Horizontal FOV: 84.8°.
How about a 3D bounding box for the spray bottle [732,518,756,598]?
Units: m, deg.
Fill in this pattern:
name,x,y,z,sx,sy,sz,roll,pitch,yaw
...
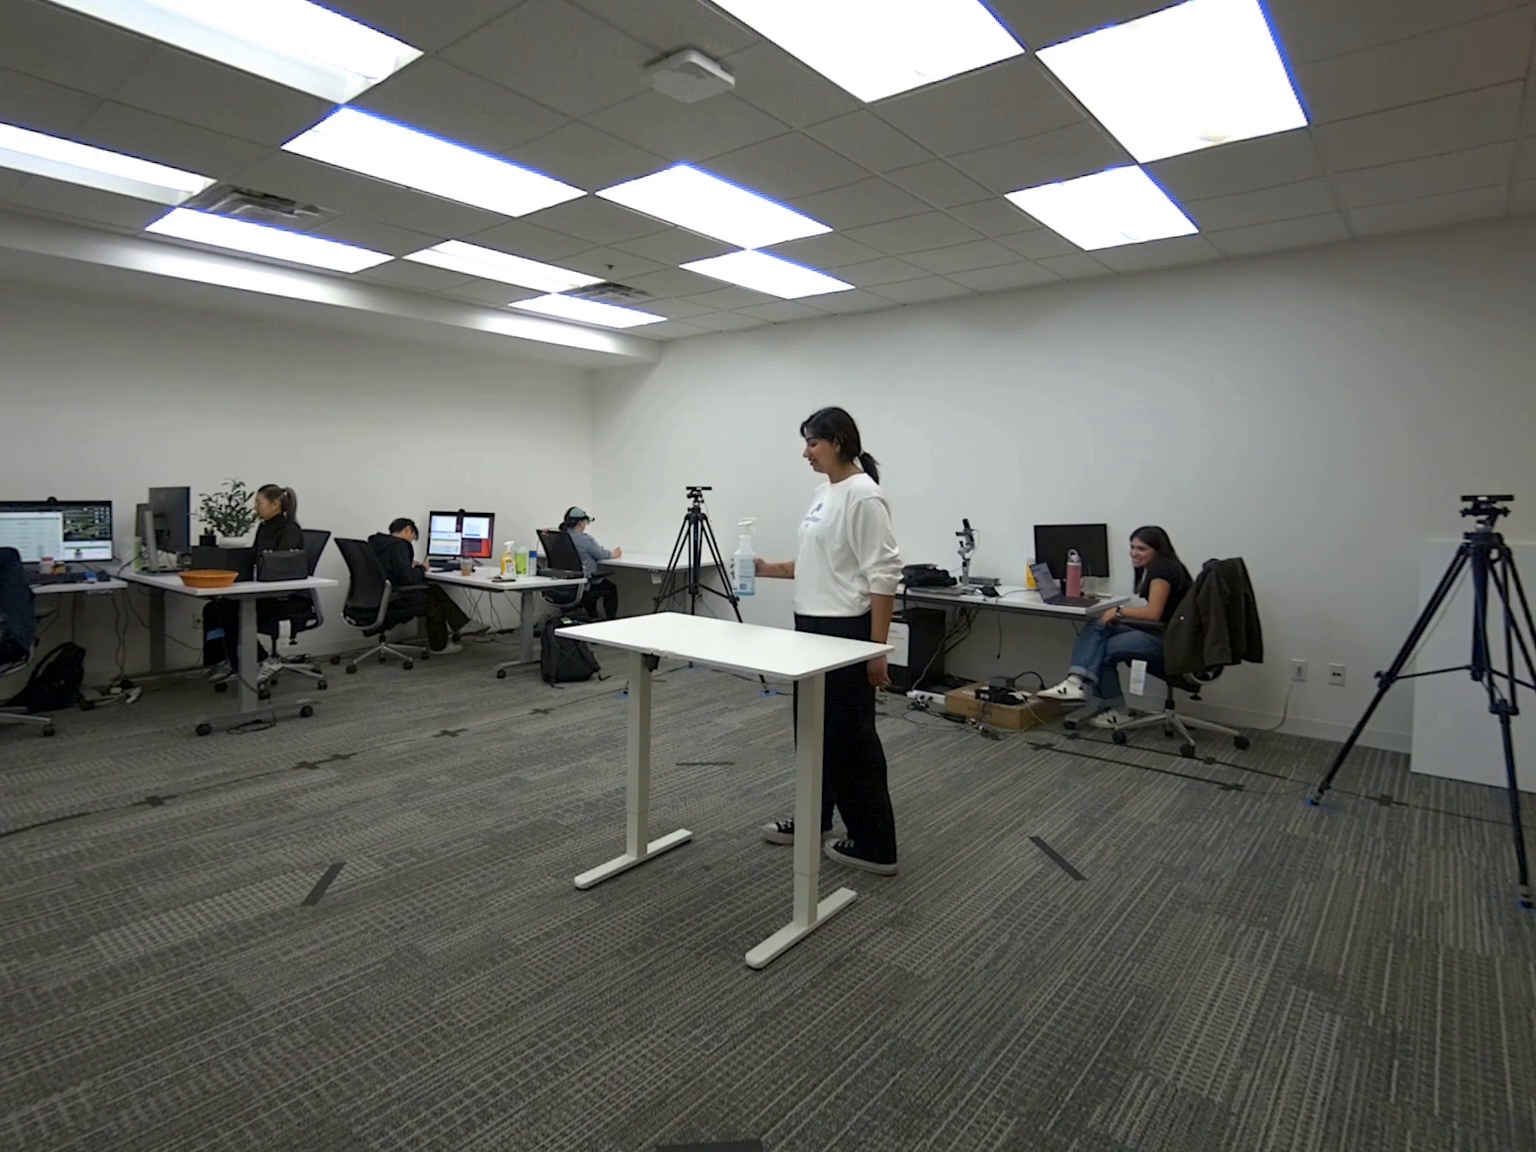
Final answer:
name,x,y,z,sx,sy,sz,roll,pitch,yaw
spray bottle,-0.083,-0.071,3.269,0.085,0.297,0.092,5,3,-26
